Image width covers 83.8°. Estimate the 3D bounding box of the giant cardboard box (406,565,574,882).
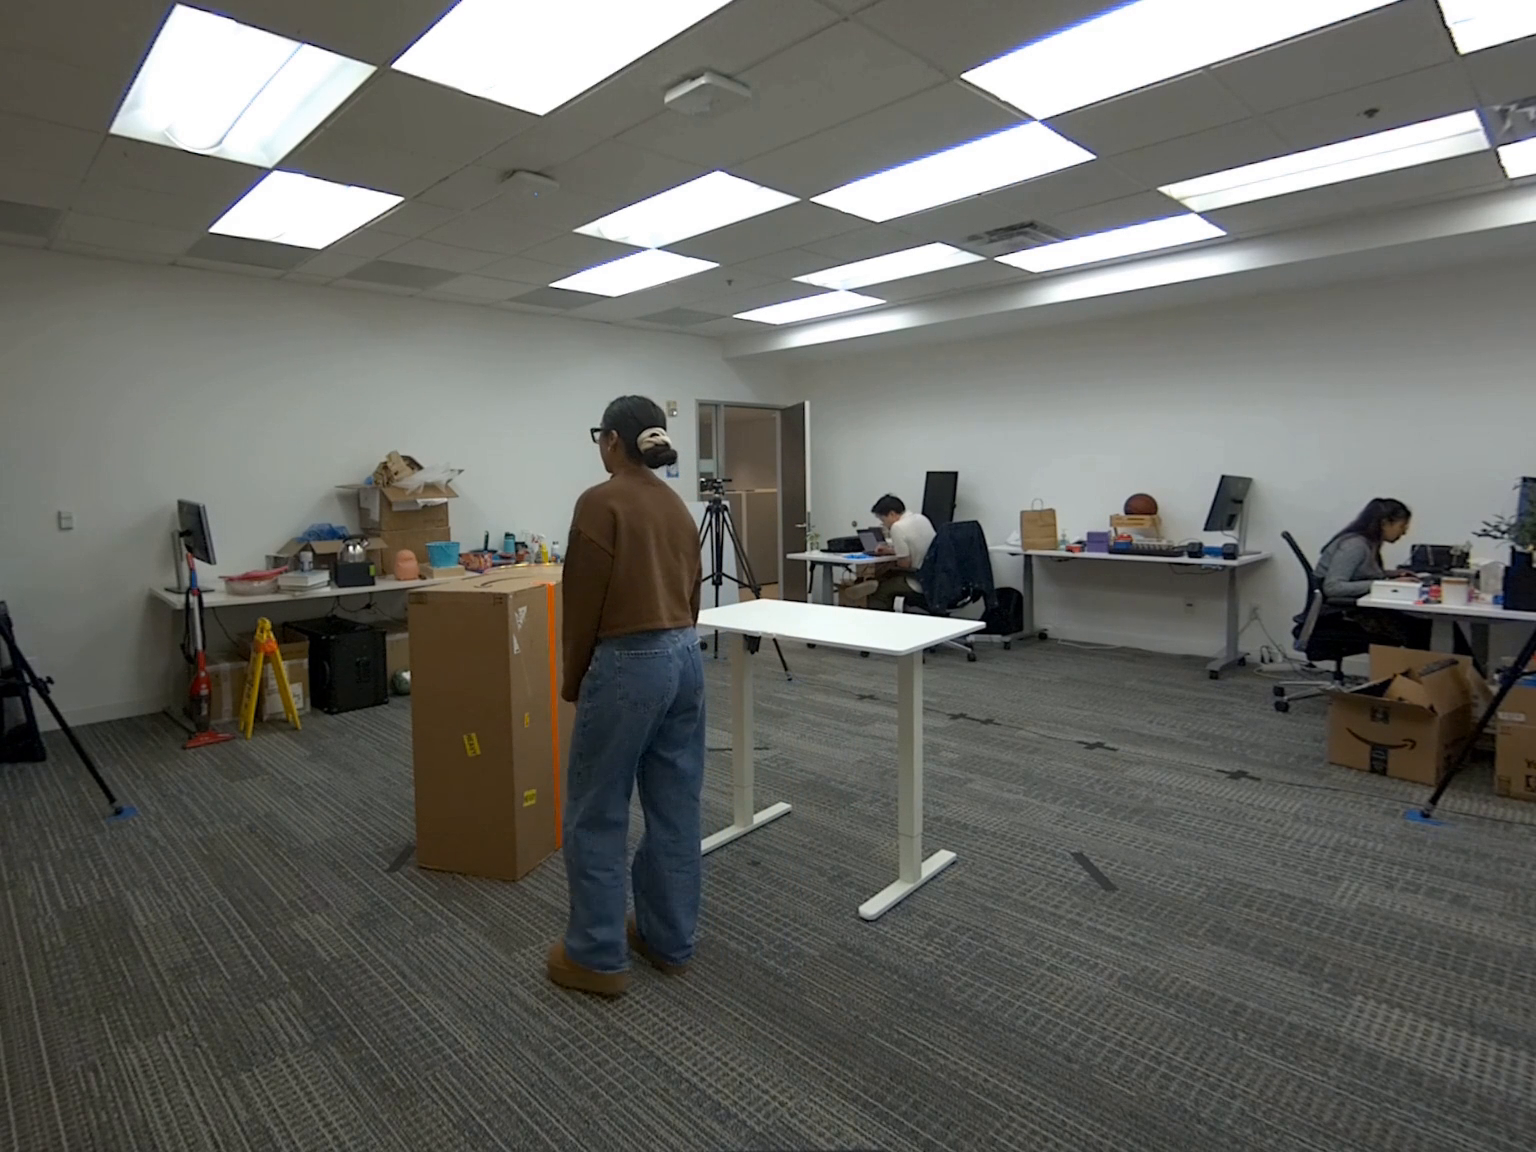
[{"bbox_3d":[-1.018,0.532,3.304,0.433,1.022,0.570,0,4,16],"label":"giant cardboard box"}]
